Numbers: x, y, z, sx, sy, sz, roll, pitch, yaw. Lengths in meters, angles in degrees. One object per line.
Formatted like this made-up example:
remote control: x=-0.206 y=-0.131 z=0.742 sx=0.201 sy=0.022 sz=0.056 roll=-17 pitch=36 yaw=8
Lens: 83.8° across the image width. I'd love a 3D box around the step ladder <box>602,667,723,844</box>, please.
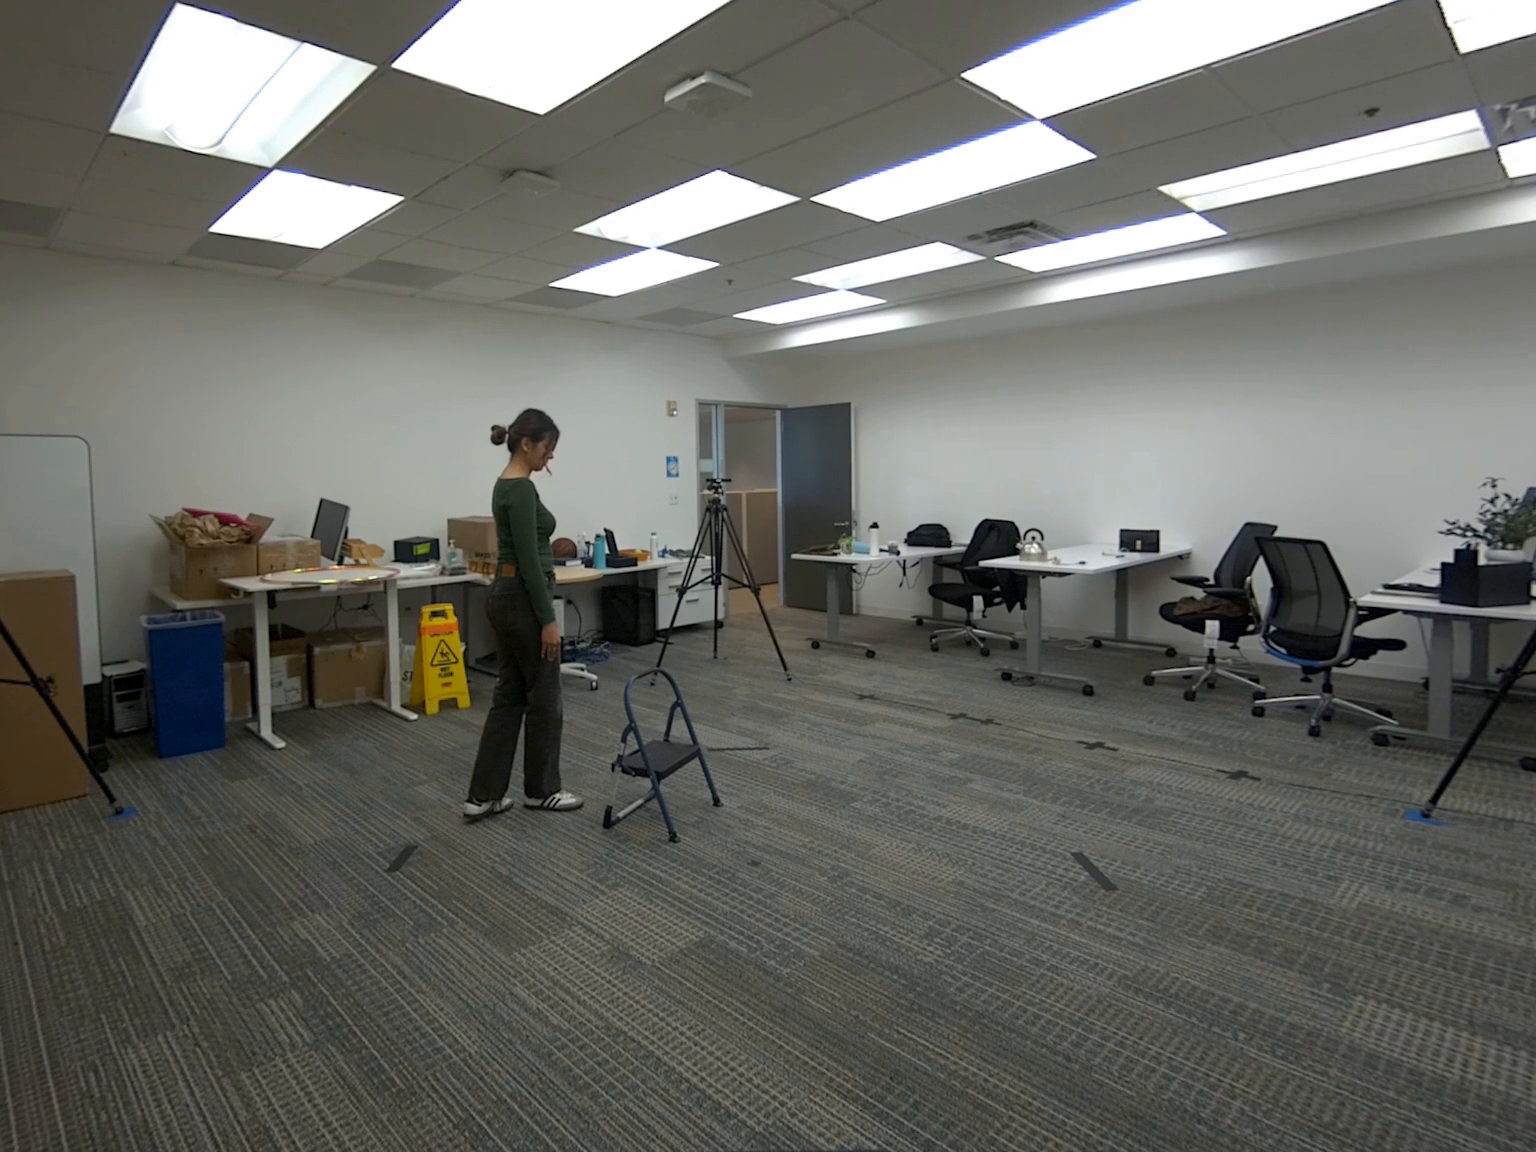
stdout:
step ladder: x=-0.440 y=0.699 z=3.535 sx=0.357 sy=0.604 sz=0.423 roll=0 pitch=4 yaw=23
